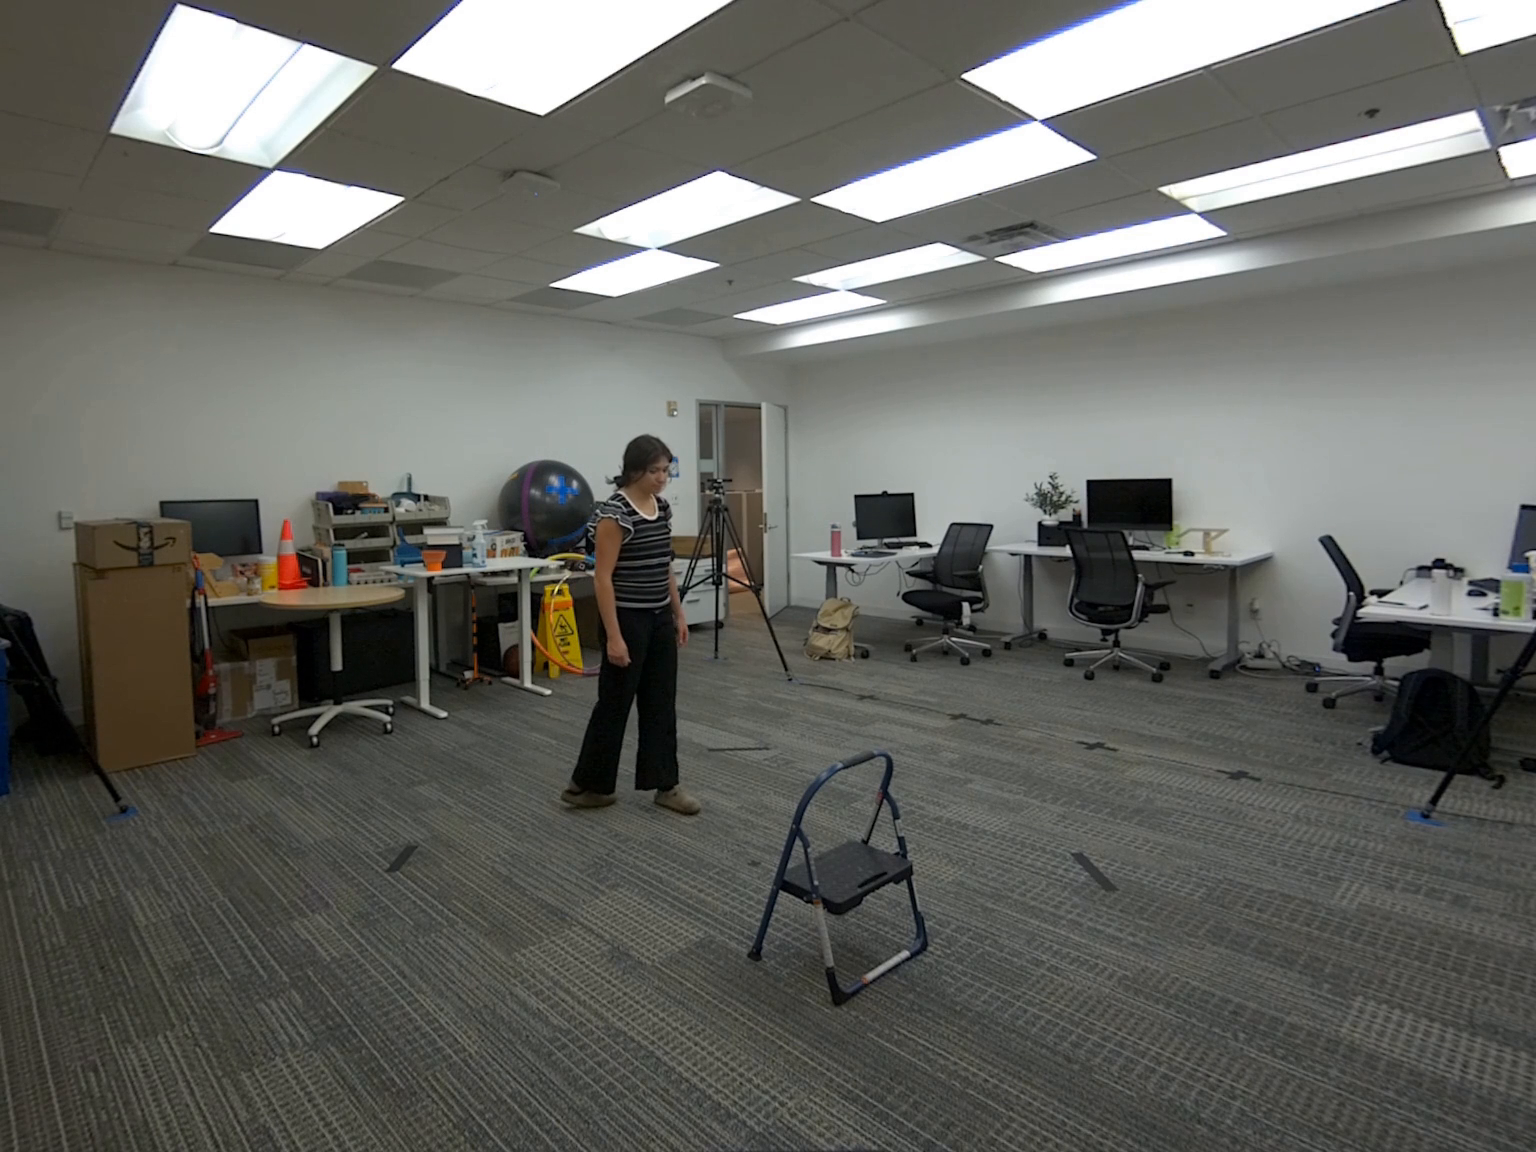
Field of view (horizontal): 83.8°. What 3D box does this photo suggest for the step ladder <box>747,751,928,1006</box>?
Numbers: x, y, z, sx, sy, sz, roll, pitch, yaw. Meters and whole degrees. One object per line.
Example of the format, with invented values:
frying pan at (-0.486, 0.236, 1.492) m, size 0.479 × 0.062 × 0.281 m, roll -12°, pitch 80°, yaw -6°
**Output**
step ladder at (0.208, 0.811, 2.496) m, size 0.419 × 0.604 × 0.360 m, roll -6°, pitch 6°, yaw -44°
